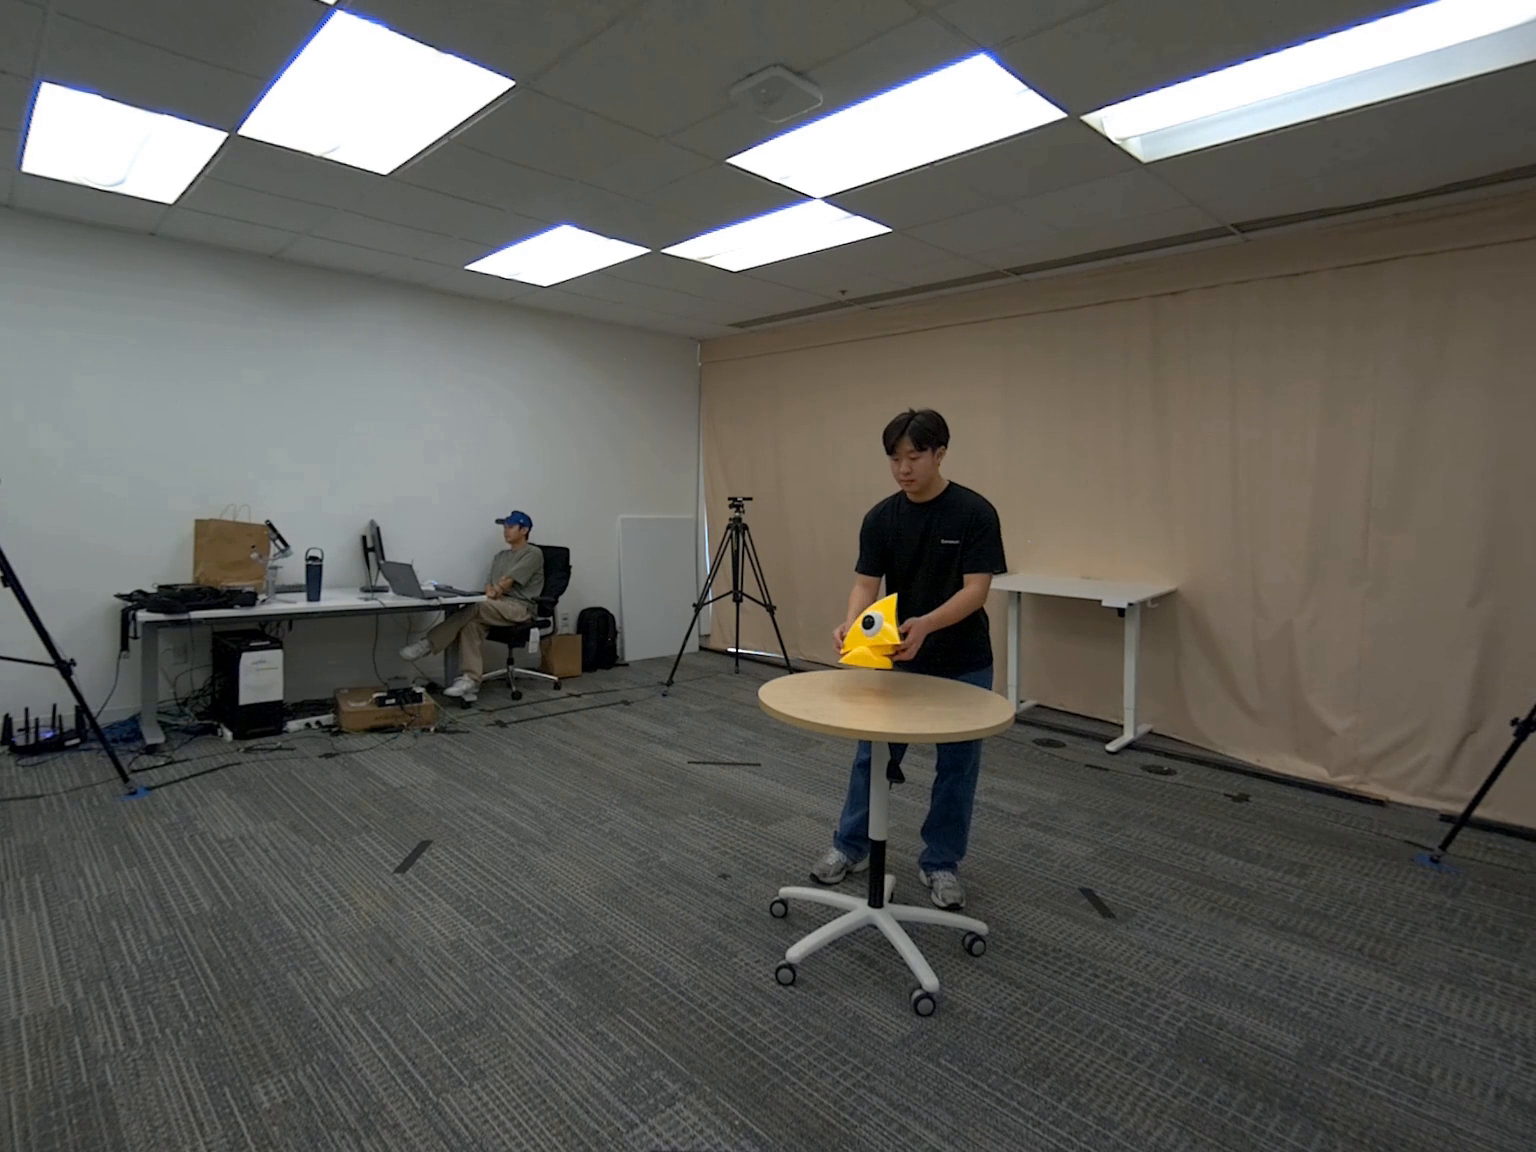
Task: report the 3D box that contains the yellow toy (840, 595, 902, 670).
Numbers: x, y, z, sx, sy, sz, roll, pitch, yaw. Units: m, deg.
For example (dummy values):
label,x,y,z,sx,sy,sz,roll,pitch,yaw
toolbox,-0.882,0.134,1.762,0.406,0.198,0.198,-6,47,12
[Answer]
label,x,y,z,sx,sy,sz,roll,pitch,yaw
yellow toy,0.328,0.173,2.616,0.195,0.231,0.202,5,-2,15
